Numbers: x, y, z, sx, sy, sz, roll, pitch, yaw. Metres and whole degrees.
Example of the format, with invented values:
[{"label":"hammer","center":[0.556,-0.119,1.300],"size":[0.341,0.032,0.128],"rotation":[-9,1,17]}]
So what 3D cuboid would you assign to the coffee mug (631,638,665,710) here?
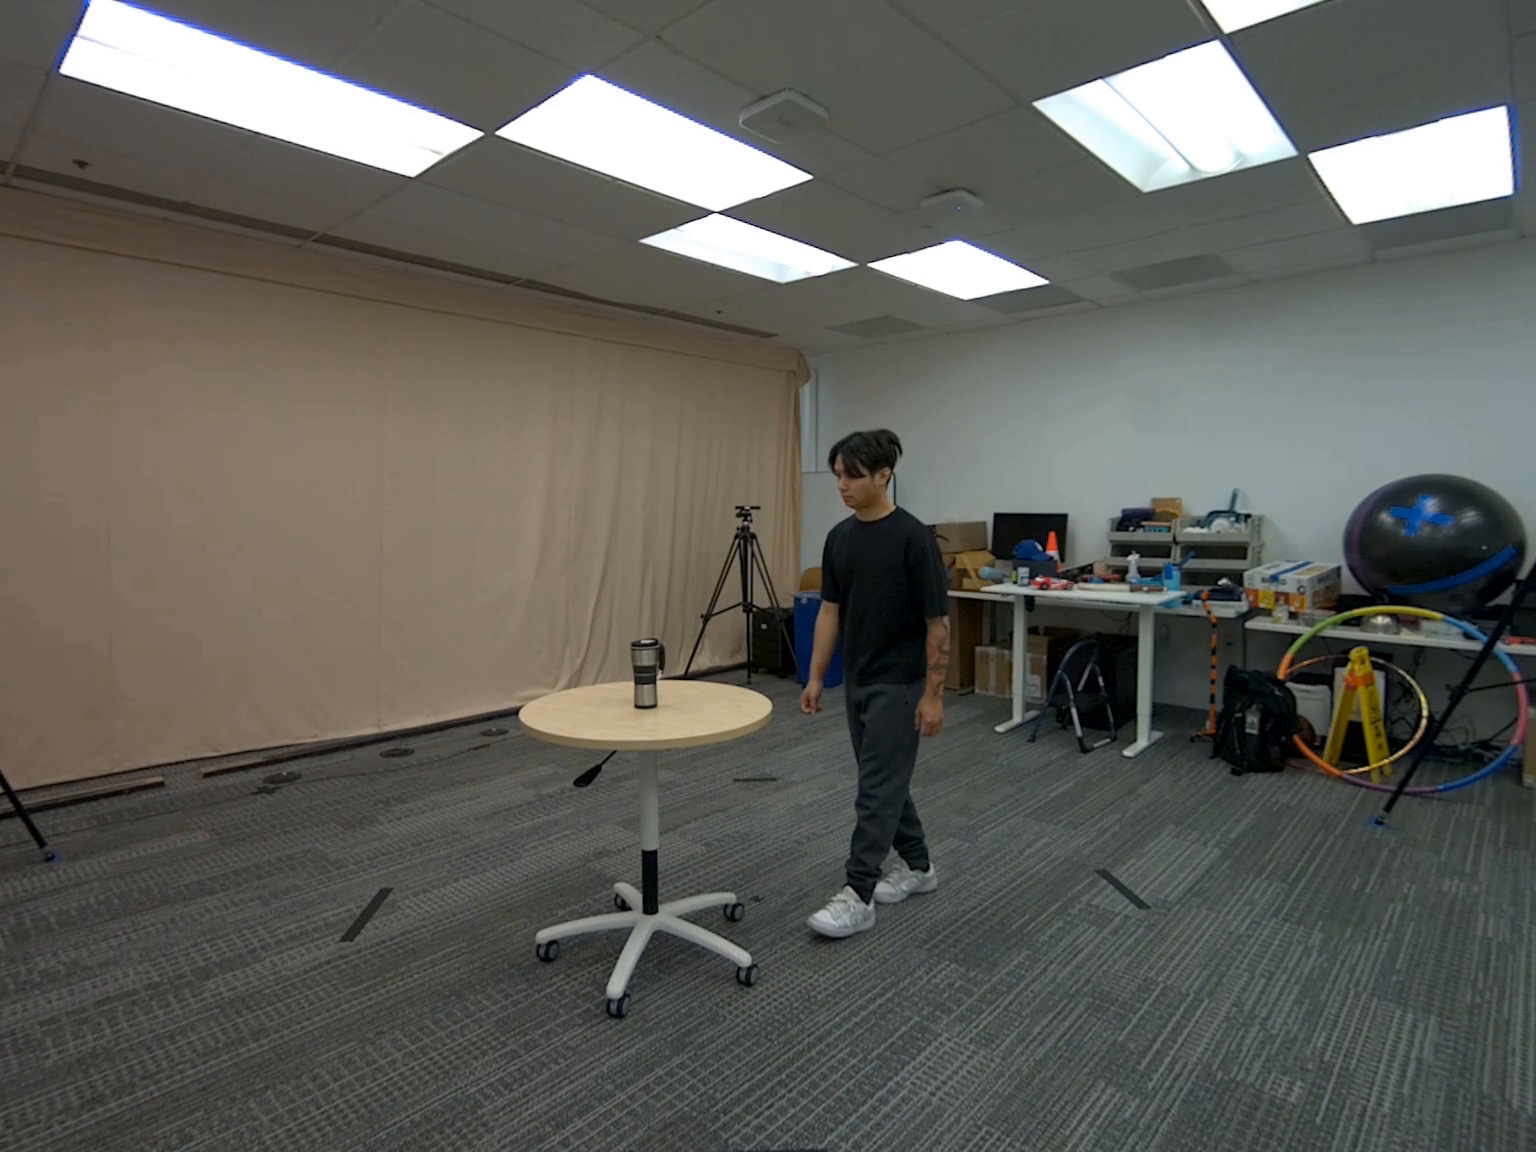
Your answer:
[{"label":"coffee mug","center":[-0.354,0.297,2.572],"size":[0.119,0.203,0.090],"rotation":[-5,-1,-32]}]
